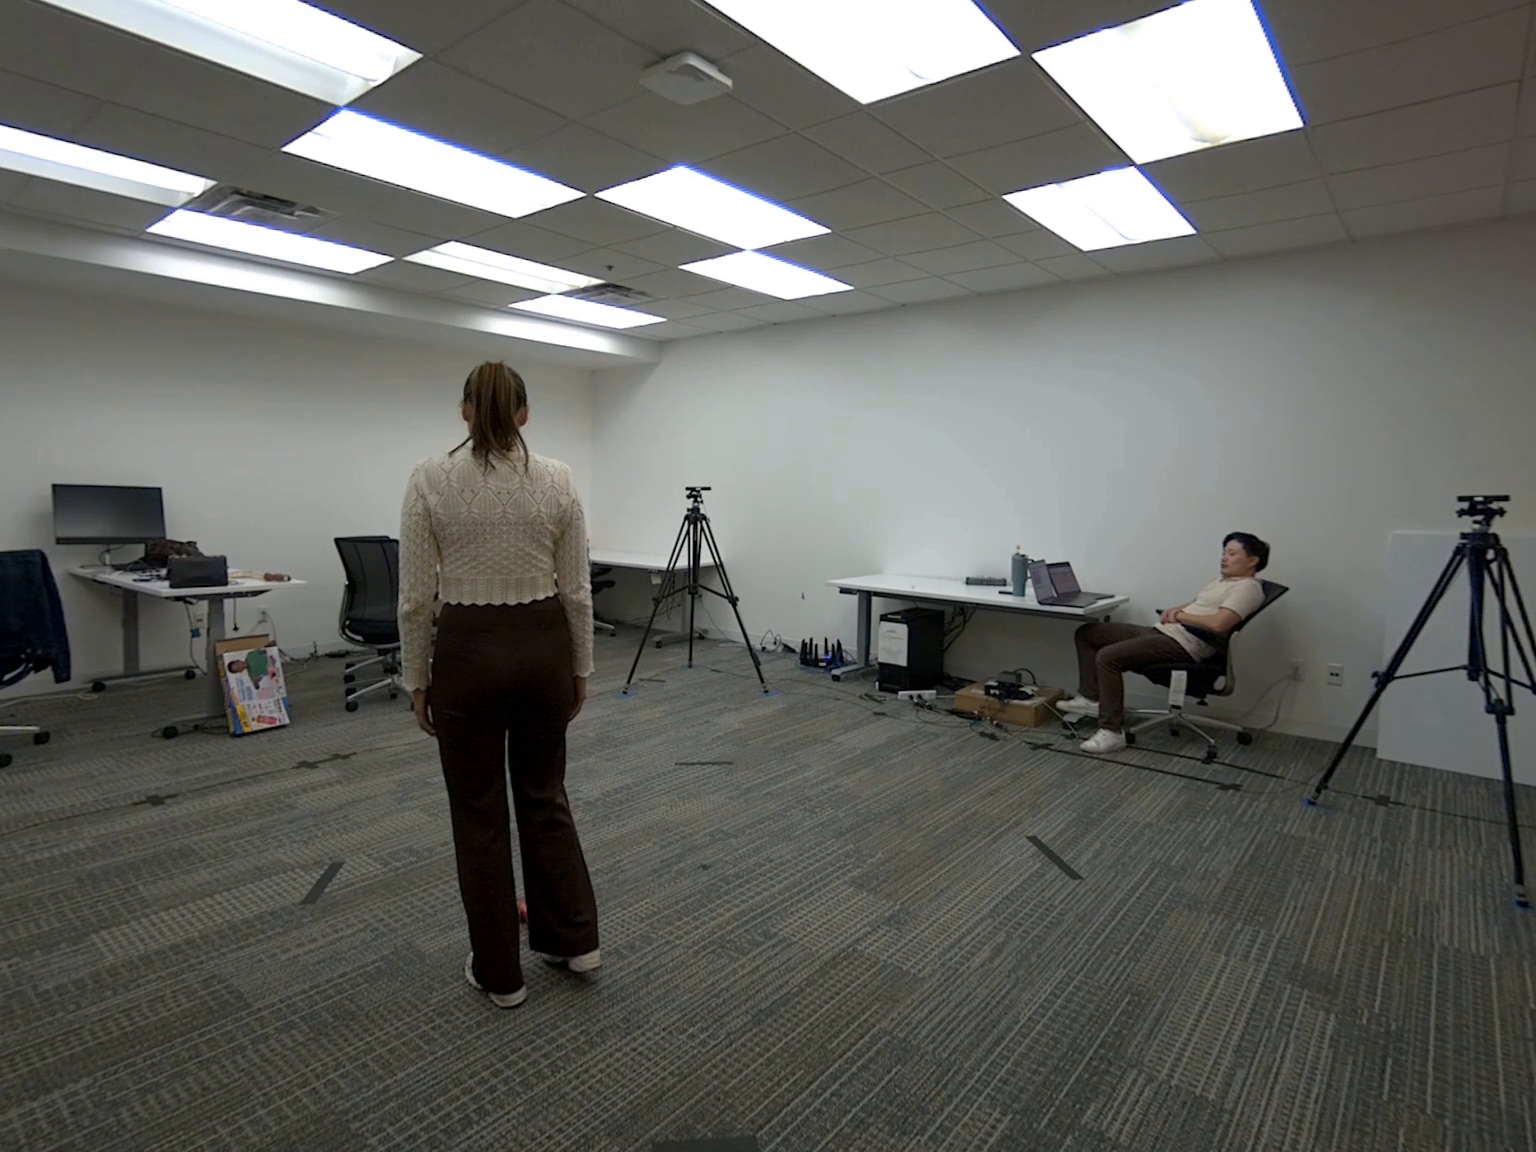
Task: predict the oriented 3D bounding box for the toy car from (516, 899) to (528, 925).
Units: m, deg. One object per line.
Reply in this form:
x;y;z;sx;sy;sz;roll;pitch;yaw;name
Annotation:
-0.705;1.068;2.657;0.127;0.084;0.260;-2;-5;-32;toy car
